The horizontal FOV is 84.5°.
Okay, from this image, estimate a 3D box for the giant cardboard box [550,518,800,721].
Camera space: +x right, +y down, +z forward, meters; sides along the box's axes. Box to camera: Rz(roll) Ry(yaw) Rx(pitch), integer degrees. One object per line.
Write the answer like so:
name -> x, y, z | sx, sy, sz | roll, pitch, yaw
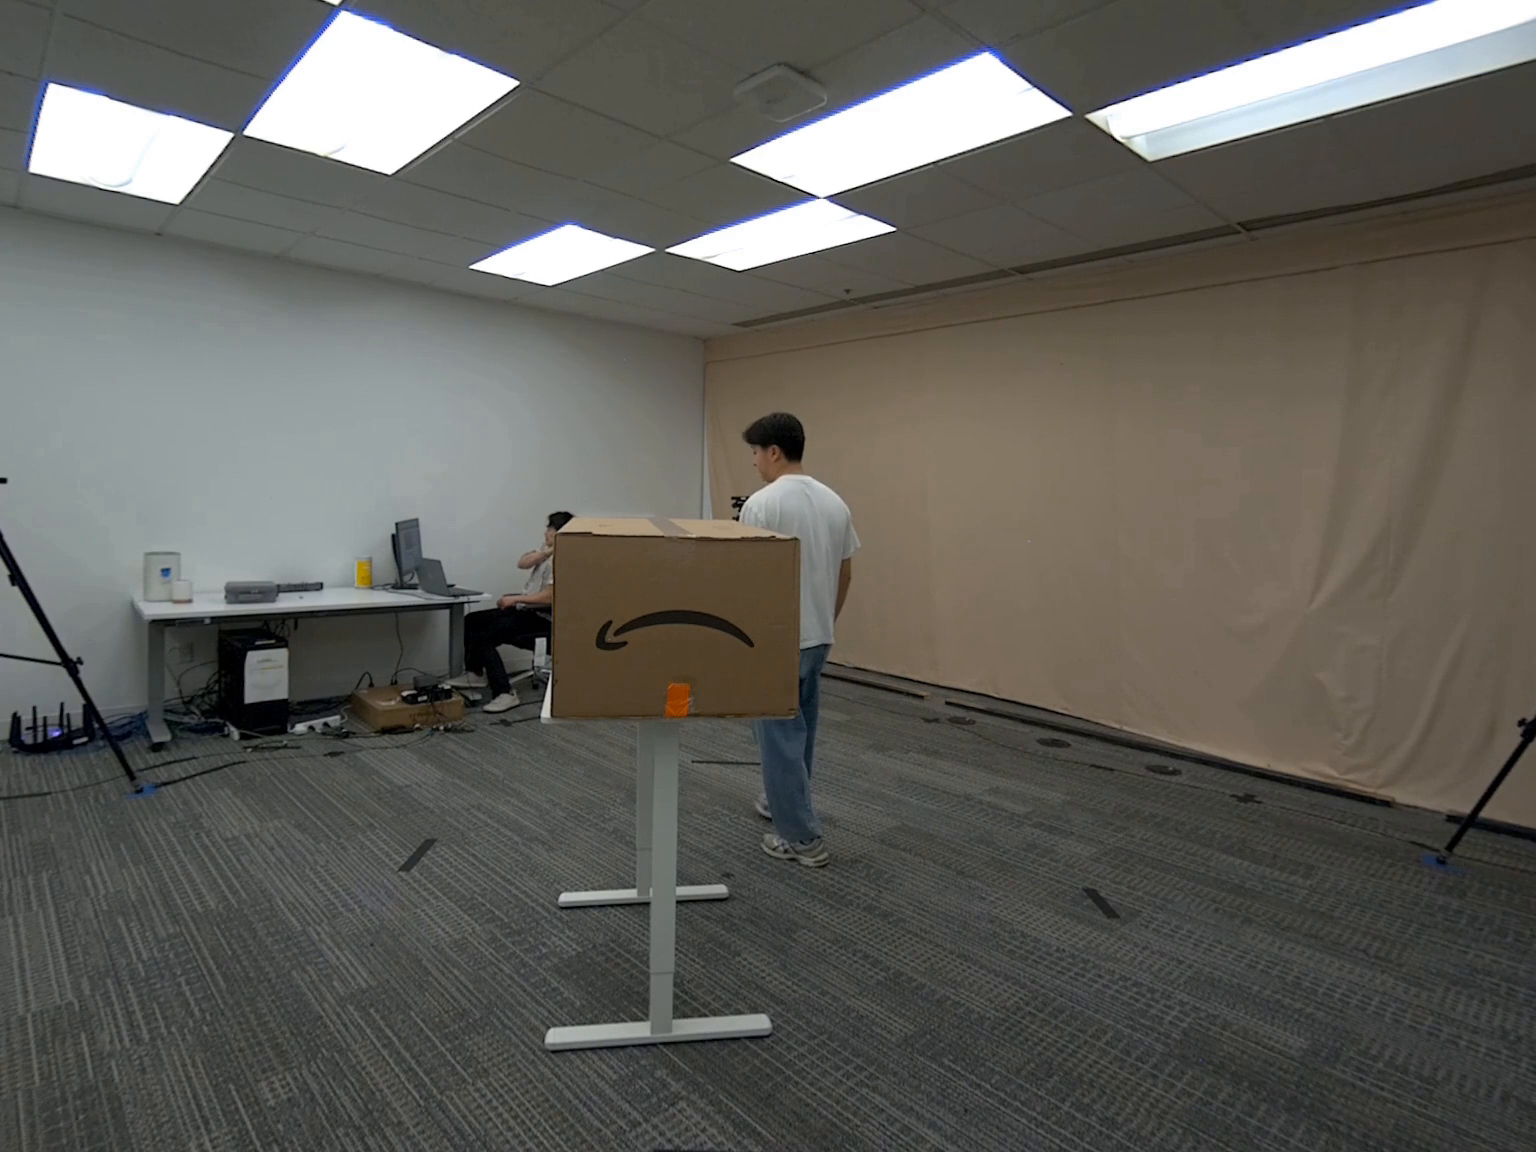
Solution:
giant cardboard box -> -0.307, 0.069, 2.444 | 0.573, 0.425, 1.037 | 1, 6, -10
